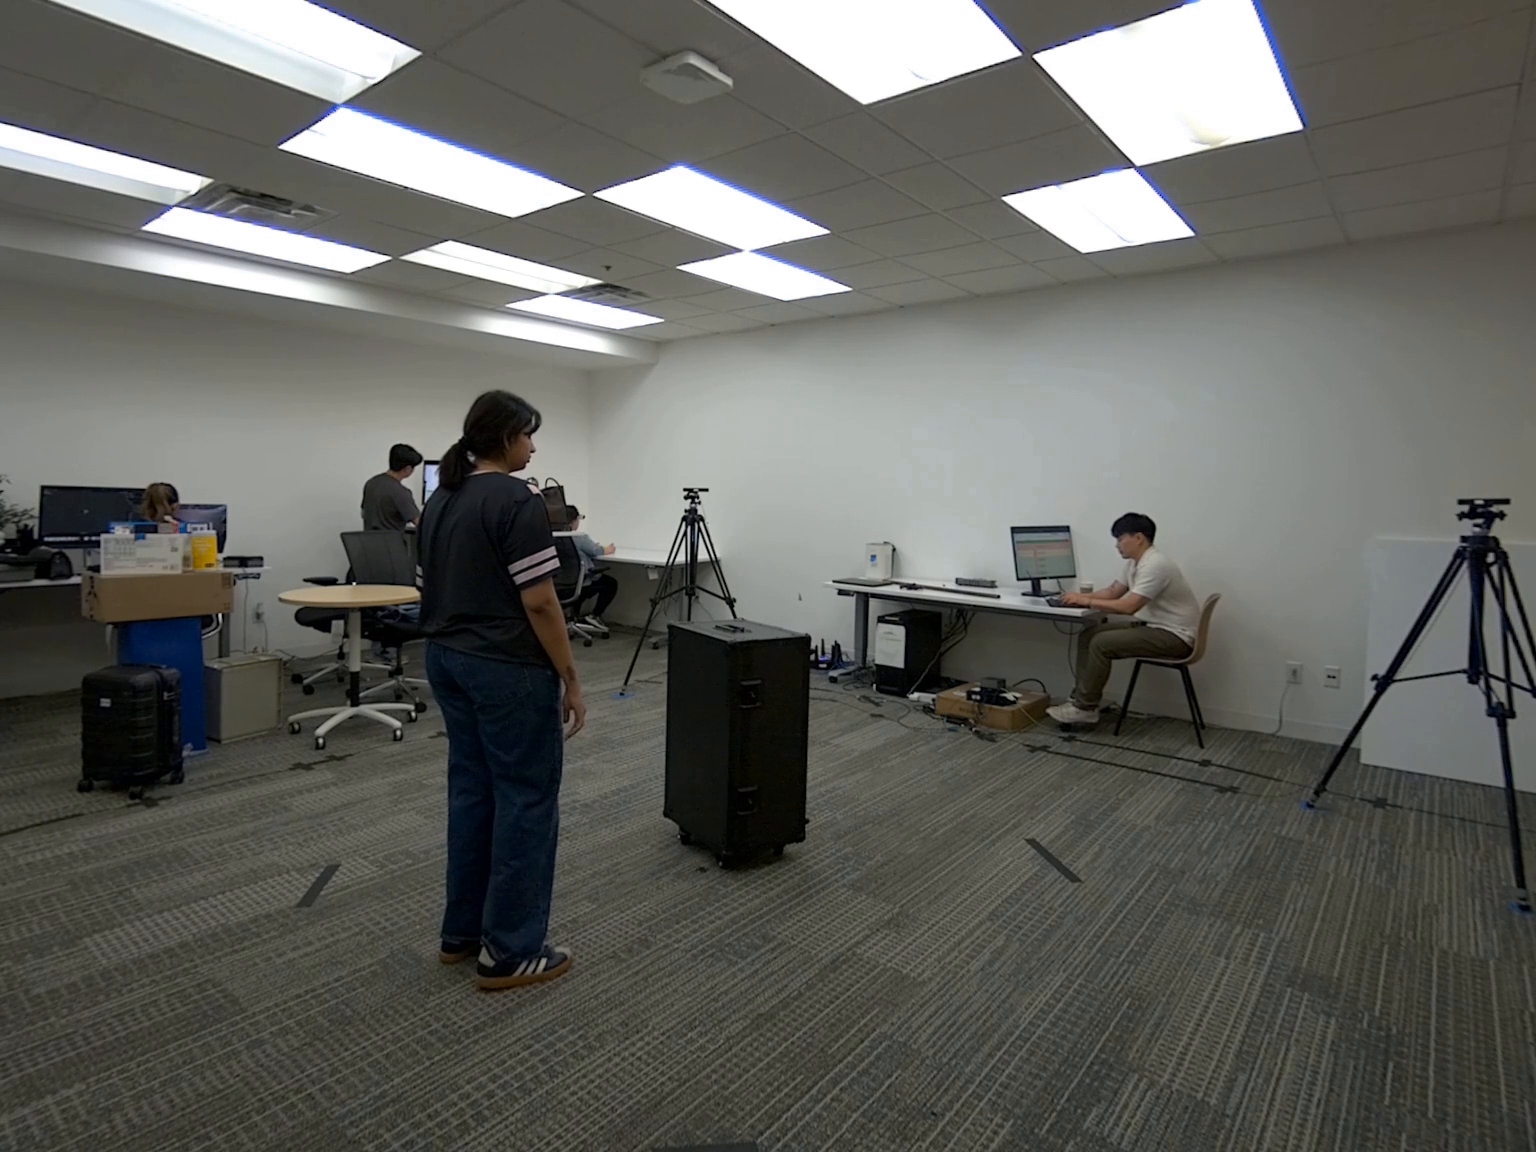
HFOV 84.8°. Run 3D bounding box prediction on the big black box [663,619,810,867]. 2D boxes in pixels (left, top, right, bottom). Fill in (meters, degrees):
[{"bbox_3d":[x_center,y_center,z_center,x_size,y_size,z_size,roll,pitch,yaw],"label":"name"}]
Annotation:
[{"bbox_3d":[-0.145,0.629,3.311,0.374,0.866,0.540,0,3,-34],"label":"big black box"}]
